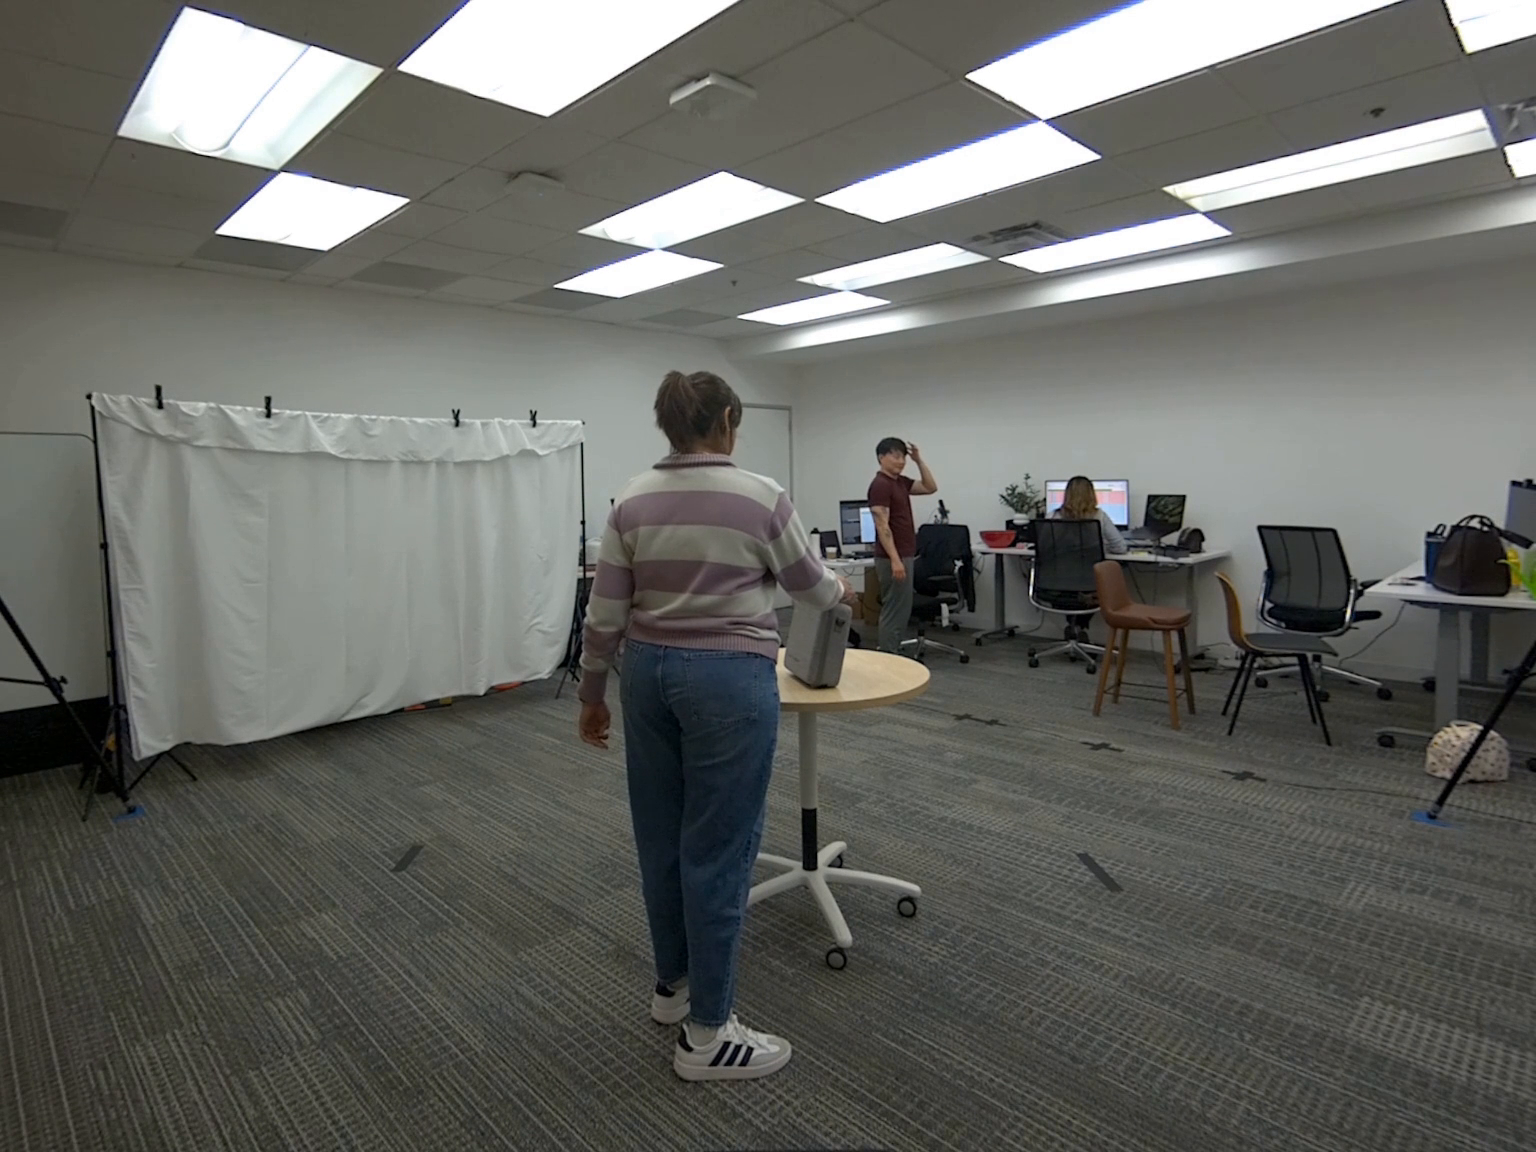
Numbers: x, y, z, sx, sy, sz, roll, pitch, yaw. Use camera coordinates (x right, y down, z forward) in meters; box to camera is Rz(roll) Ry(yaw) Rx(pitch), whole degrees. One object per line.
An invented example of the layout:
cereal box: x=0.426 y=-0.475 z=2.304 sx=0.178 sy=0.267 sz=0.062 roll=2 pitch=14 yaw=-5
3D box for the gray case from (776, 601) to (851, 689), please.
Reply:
gray case: x=0.152 y=0.192 z=2.590 sx=0.103 sy=0.260 sz=0.262 roll=6 pitch=5 yaw=-16
